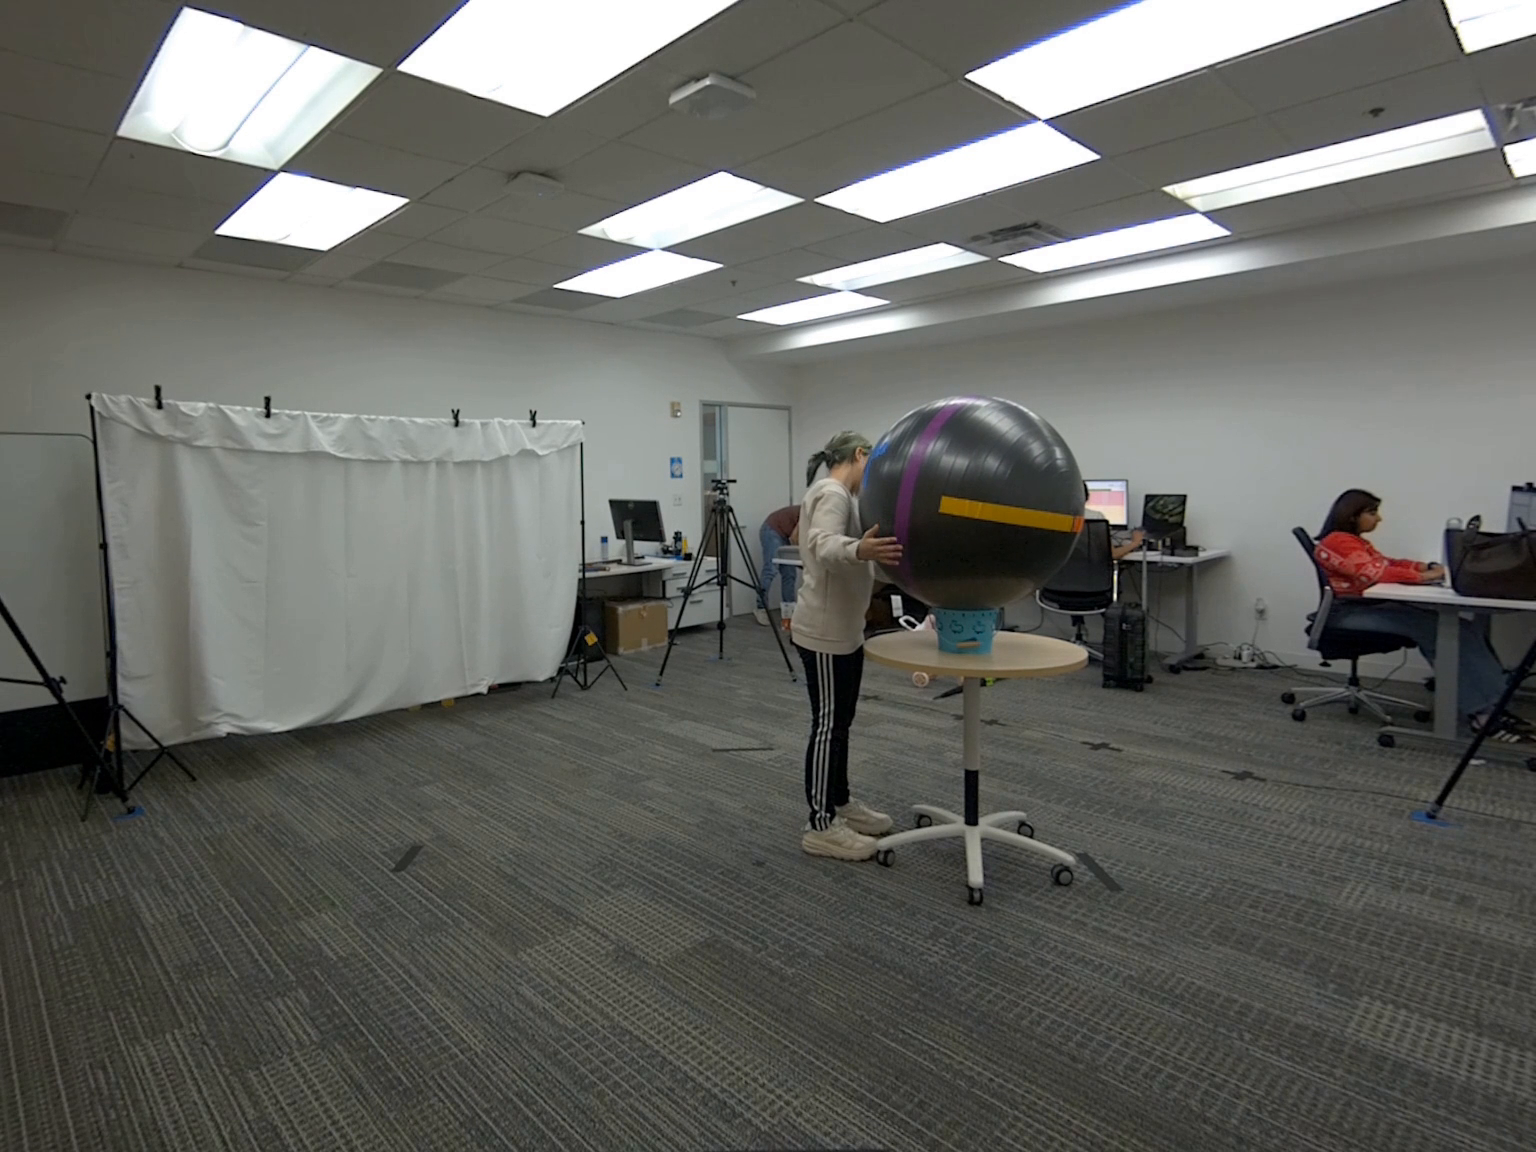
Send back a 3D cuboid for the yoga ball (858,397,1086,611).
[{"bbox_3d":[0.700,-0.250,2.987,0.757,0.755,0.762,-1,5,-2],"label":"yoga ball"}]
